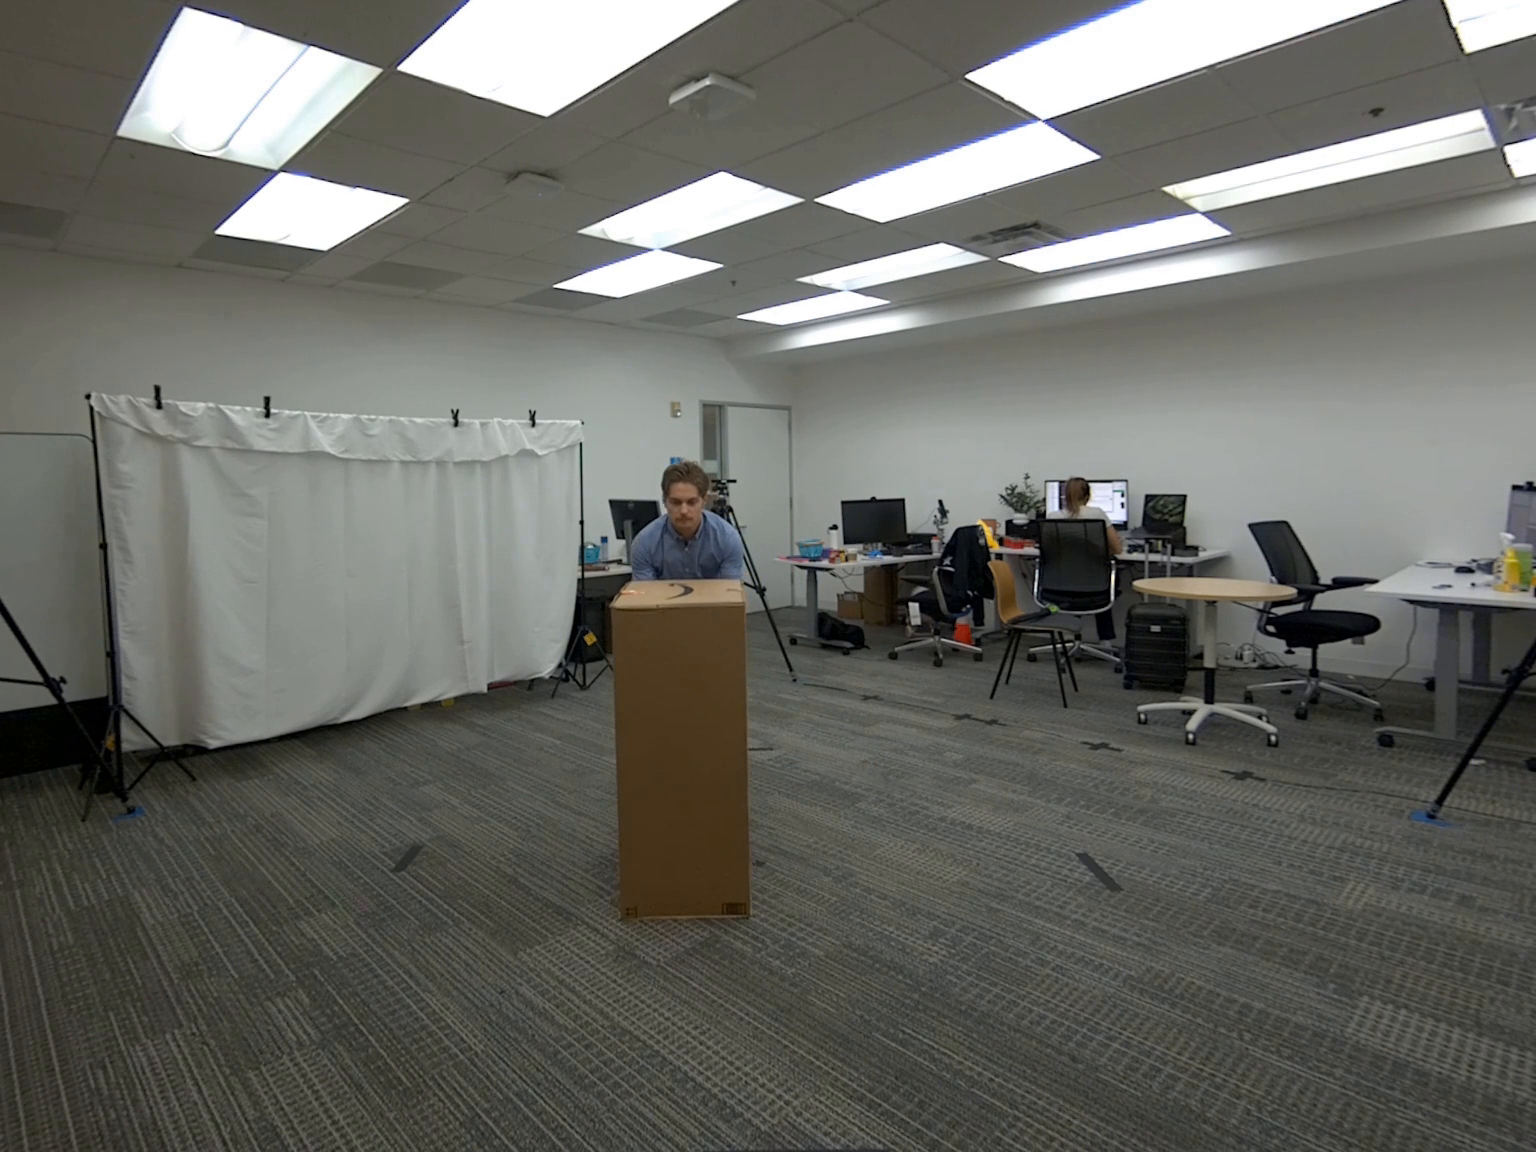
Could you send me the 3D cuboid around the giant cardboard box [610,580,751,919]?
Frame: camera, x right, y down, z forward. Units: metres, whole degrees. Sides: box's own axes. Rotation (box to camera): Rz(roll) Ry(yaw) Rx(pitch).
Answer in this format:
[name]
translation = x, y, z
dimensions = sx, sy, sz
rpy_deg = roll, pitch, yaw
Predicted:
[giant cardboard box]
translation = -0.294, 0.561, 2.971
dimensions = 0.426, 1.022, 0.580
rpy_deg = -1, 5, -2
